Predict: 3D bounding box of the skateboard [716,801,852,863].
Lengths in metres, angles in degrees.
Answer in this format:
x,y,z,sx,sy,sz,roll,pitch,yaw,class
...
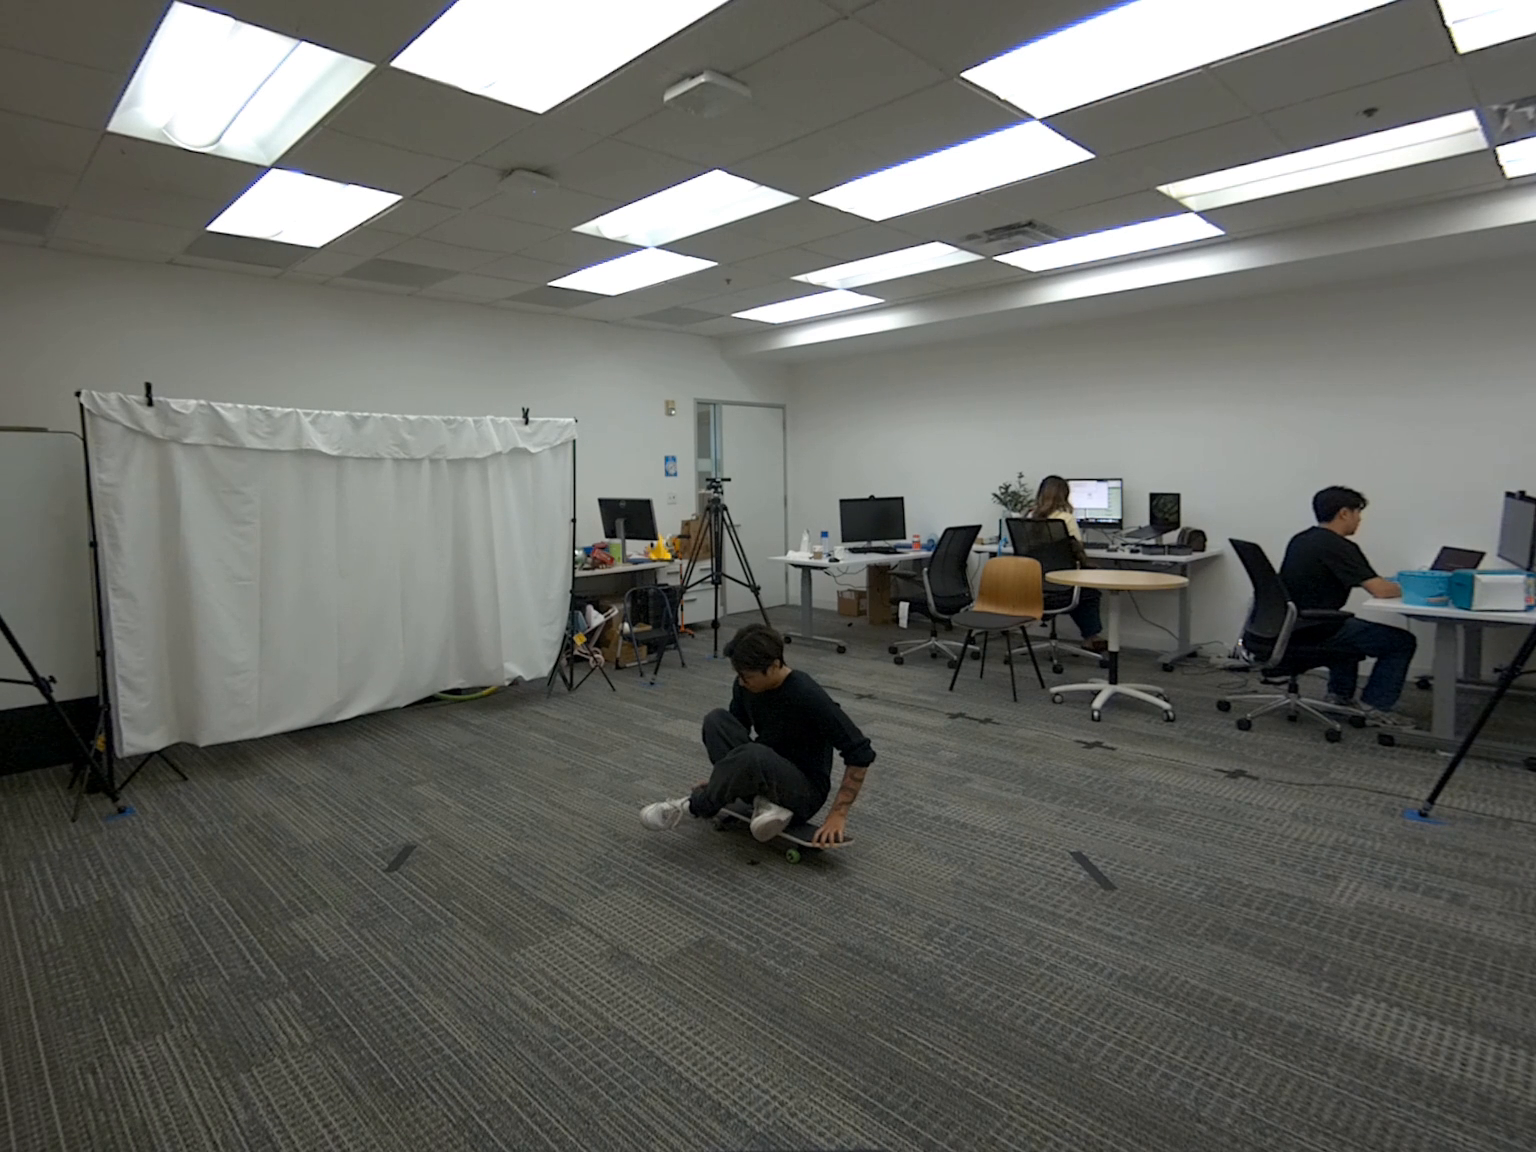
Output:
x,y,z,sx,sy,sz,roll,pitch,yaw,class
-0.006,0.972,3.304,0.187,0.110,0.810,5,0,-43,skateboard
